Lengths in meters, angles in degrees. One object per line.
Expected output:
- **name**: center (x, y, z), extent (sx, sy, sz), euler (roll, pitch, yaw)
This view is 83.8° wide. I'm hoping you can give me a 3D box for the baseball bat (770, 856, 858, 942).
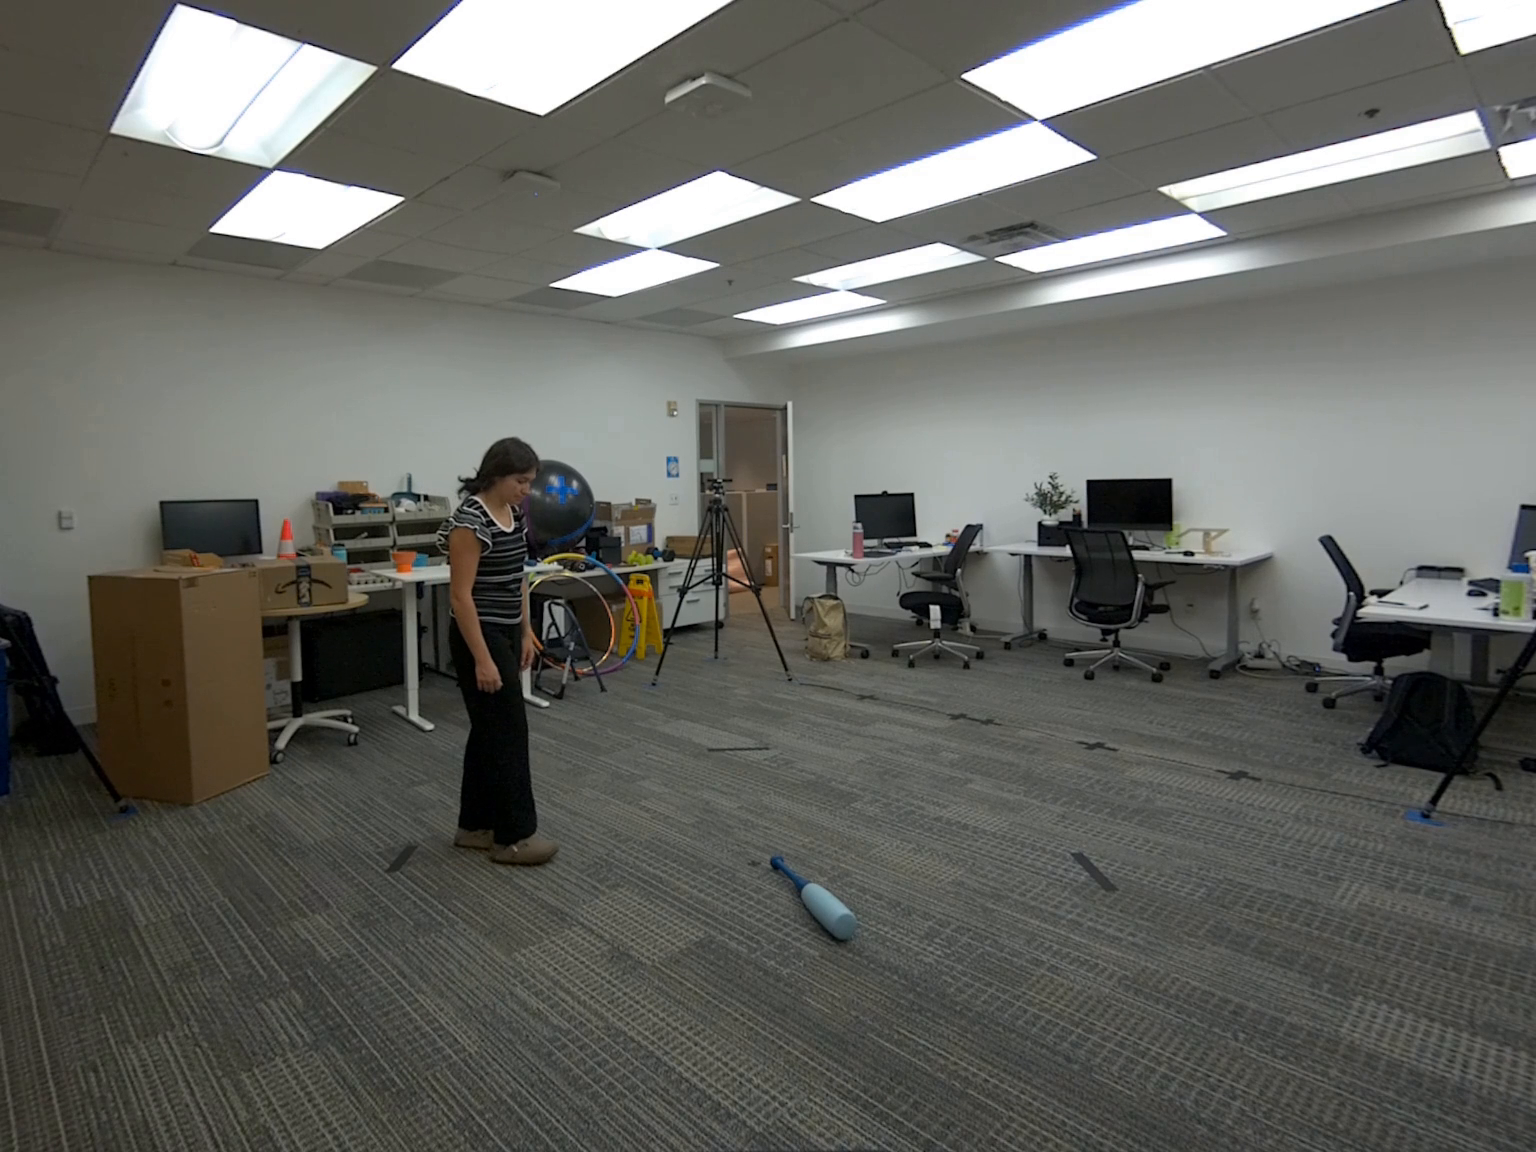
- **baseball bat**: center (0.137, 1.041, 2.811), extent (0.087, 0.089, 0.553), euler (-3, 4, -21)
